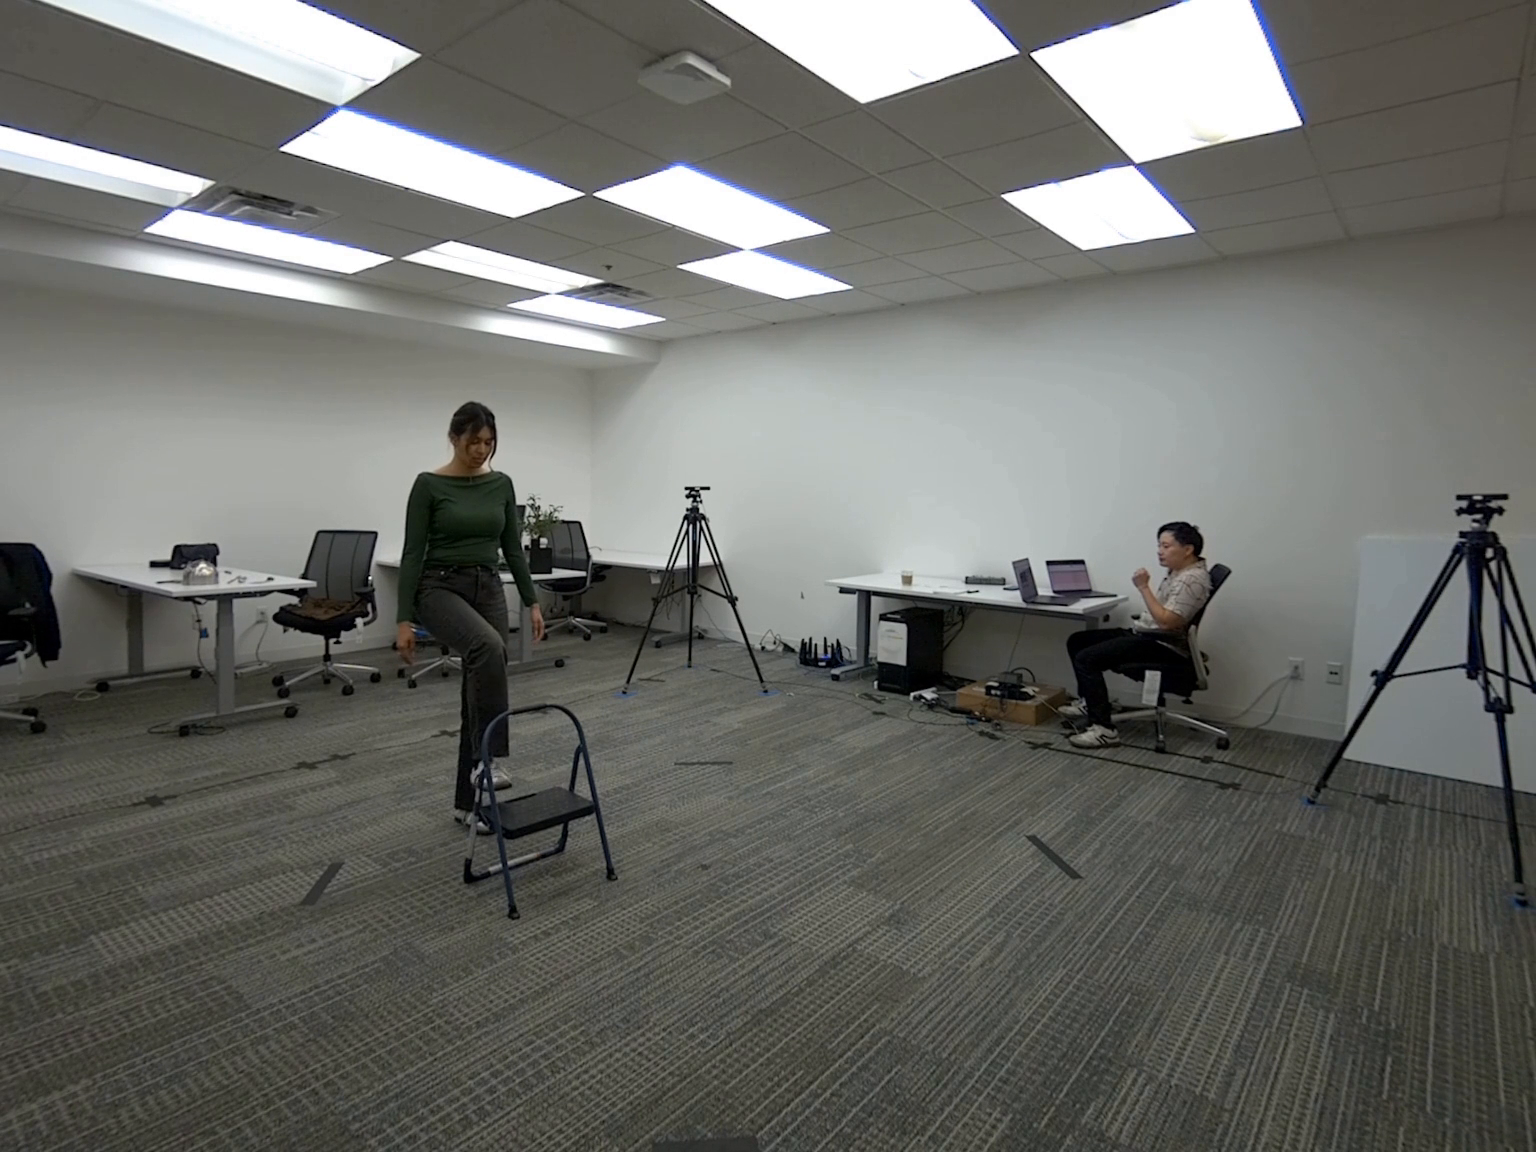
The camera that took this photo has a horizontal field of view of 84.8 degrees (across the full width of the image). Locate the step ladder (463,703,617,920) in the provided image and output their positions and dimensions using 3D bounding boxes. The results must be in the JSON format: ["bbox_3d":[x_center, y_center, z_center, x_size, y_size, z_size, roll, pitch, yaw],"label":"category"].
[{"bbox_3d":[-0.808,0.767,2.975,0.361,0.604,0.417,3,4,43],"label":"step ladder"}]
